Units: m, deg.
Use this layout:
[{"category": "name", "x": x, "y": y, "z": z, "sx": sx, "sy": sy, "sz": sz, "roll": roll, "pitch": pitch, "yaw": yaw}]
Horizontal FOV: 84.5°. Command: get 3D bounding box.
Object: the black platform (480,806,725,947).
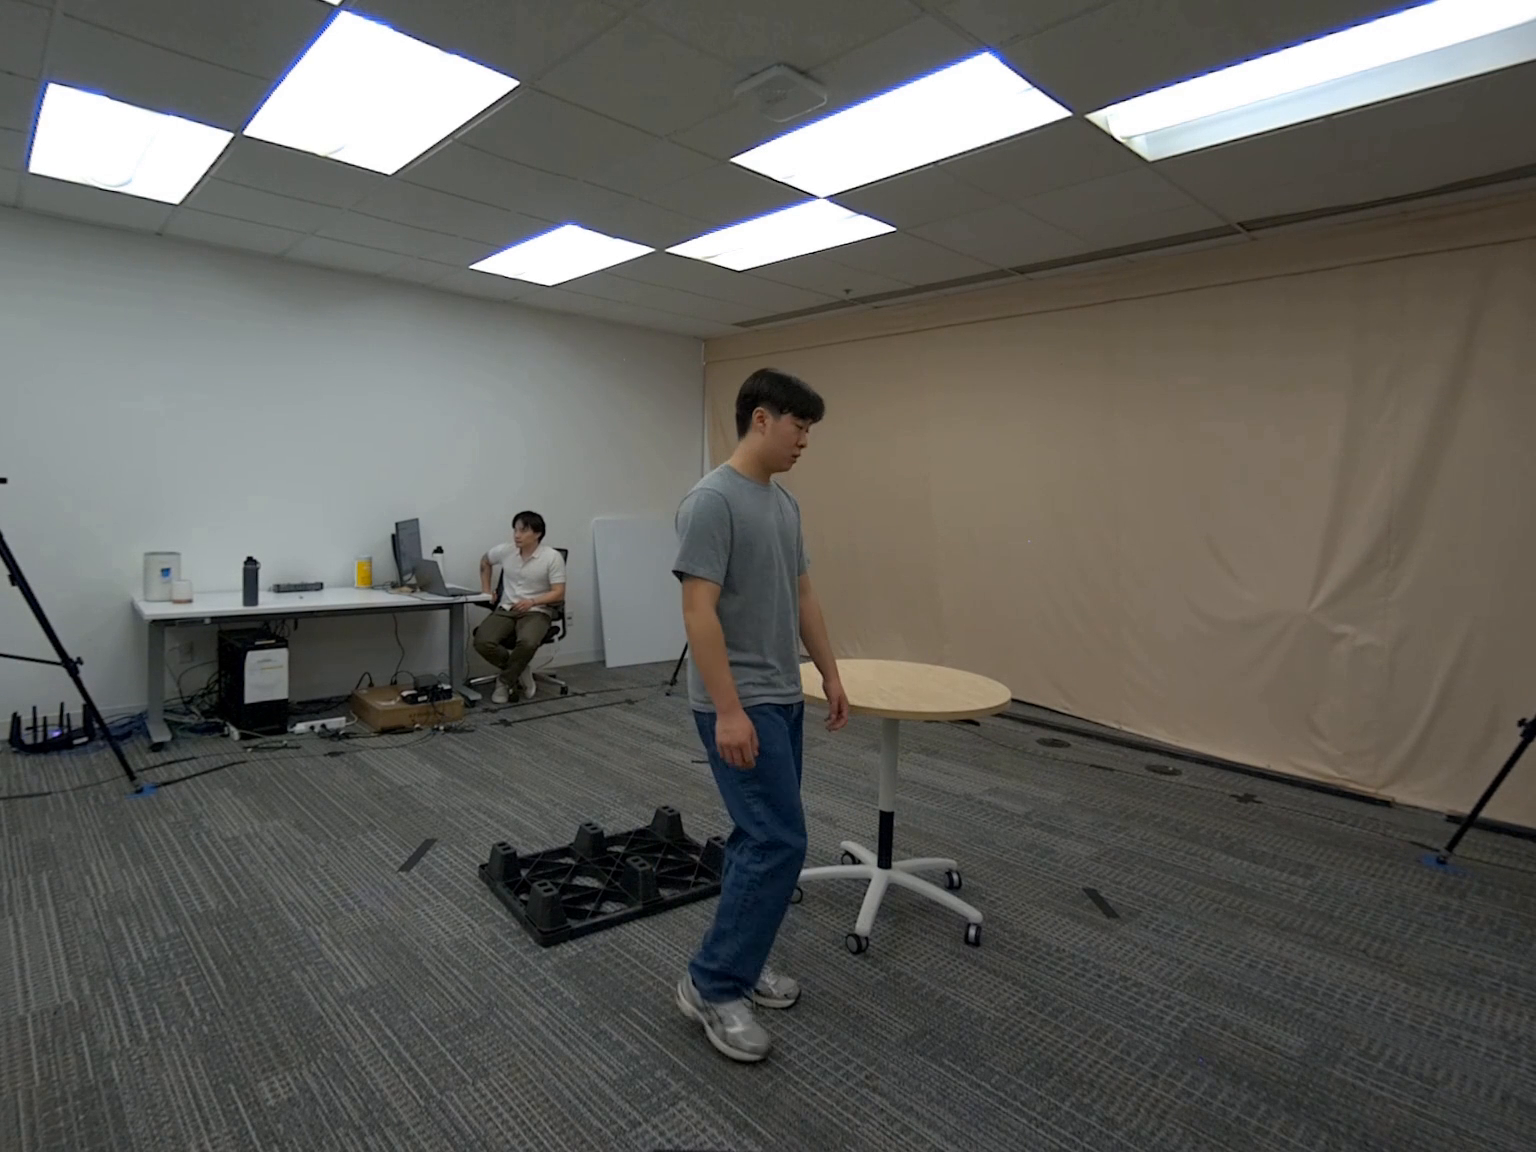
[{"category": "black platform", "x": -0.561, "y": 1.037, "z": 3.033, "sx": 0.788, "sy": 0.143, "sz": 0.620, "roll": -3, "pitch": 6, "yaw": -37}]
